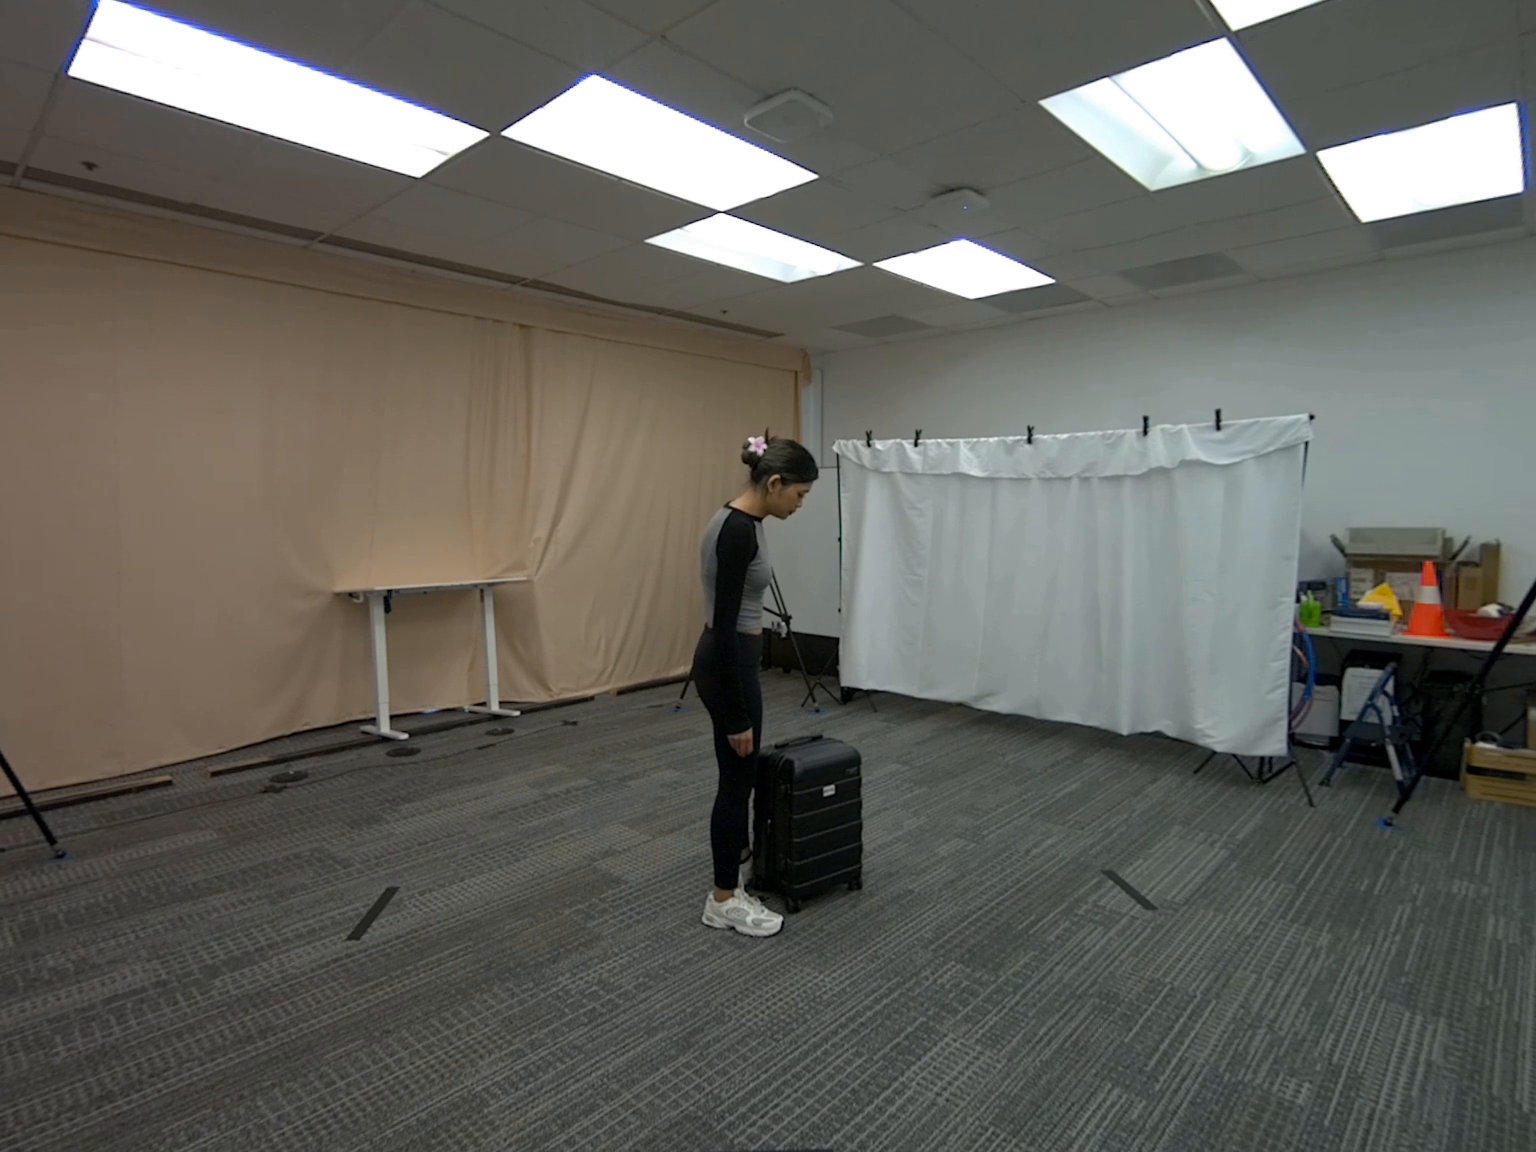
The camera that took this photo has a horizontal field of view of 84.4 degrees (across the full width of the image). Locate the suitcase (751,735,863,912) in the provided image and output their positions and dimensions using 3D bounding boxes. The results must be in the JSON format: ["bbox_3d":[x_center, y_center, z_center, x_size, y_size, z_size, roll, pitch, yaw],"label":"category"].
[{"bbox_3d":[0.153,0.864,3.024,0.364,0.548,0.256,-3,6,-37],"label":"suitcase"}]
